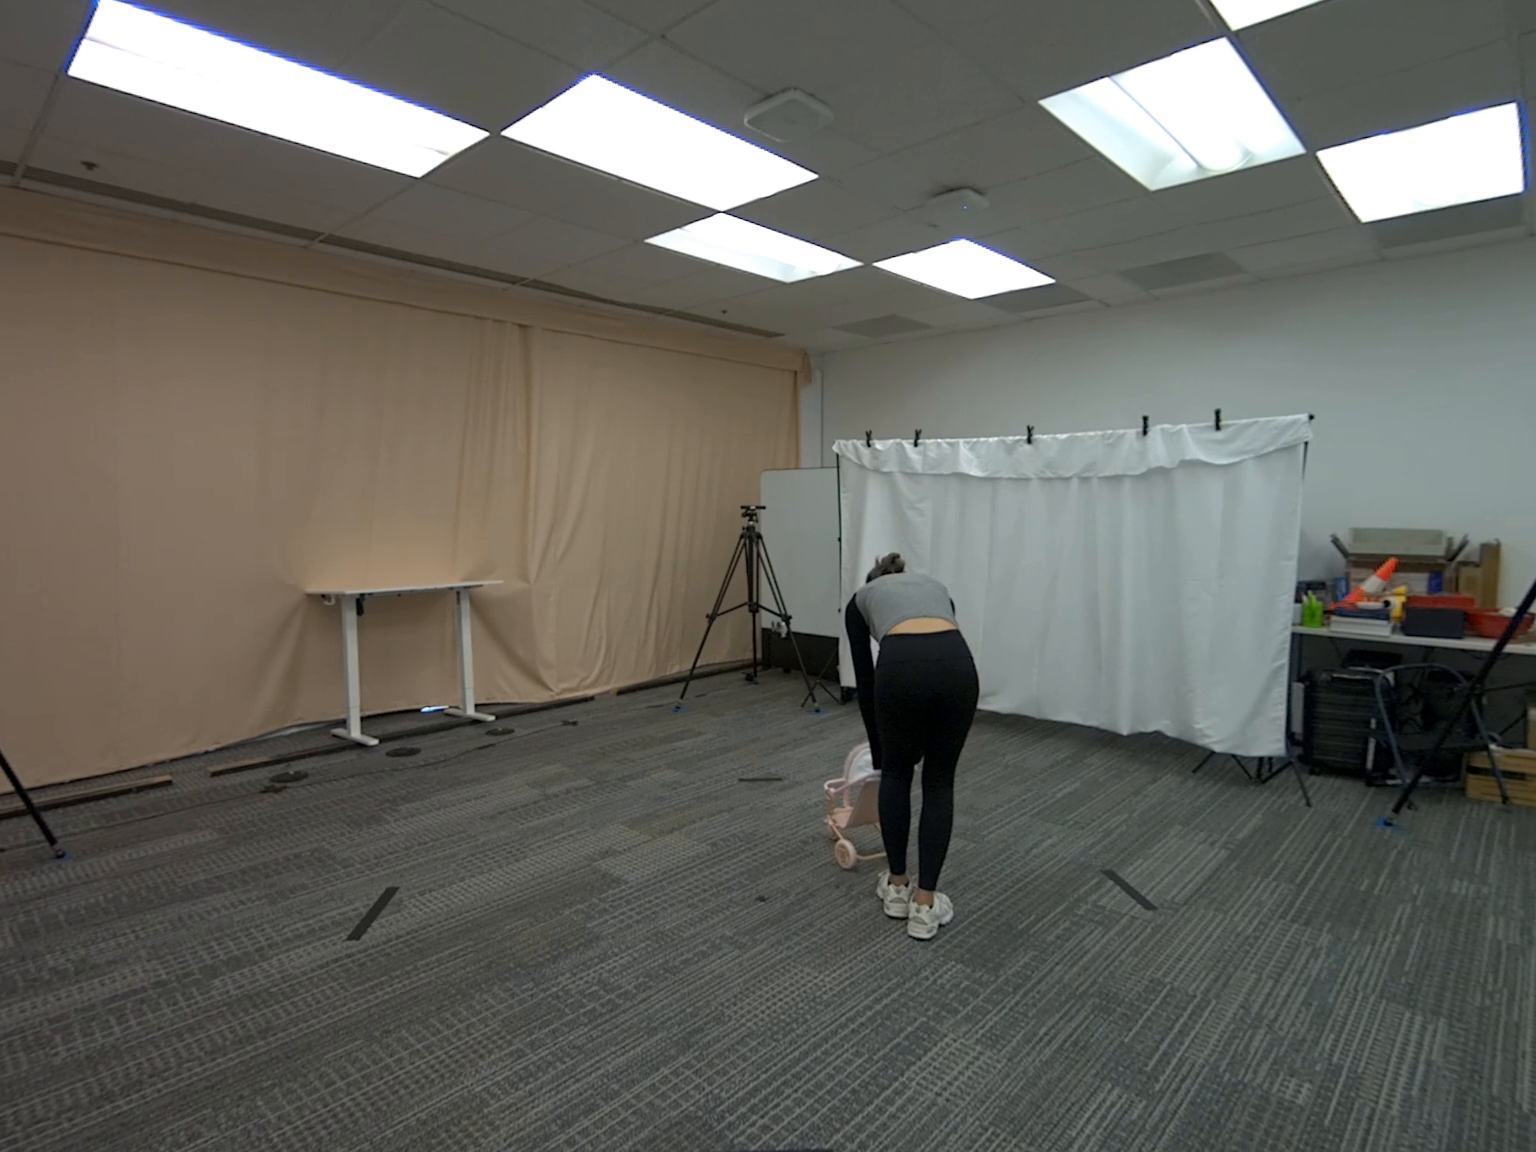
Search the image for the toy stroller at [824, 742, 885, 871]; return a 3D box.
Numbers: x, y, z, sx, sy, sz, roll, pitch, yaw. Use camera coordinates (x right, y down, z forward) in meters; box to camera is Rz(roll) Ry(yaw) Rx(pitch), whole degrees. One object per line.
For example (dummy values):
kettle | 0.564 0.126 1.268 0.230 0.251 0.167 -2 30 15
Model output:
toy stroller | 0.377 0.887 3.331 0.274 0.531 0.352 0 20 -26
